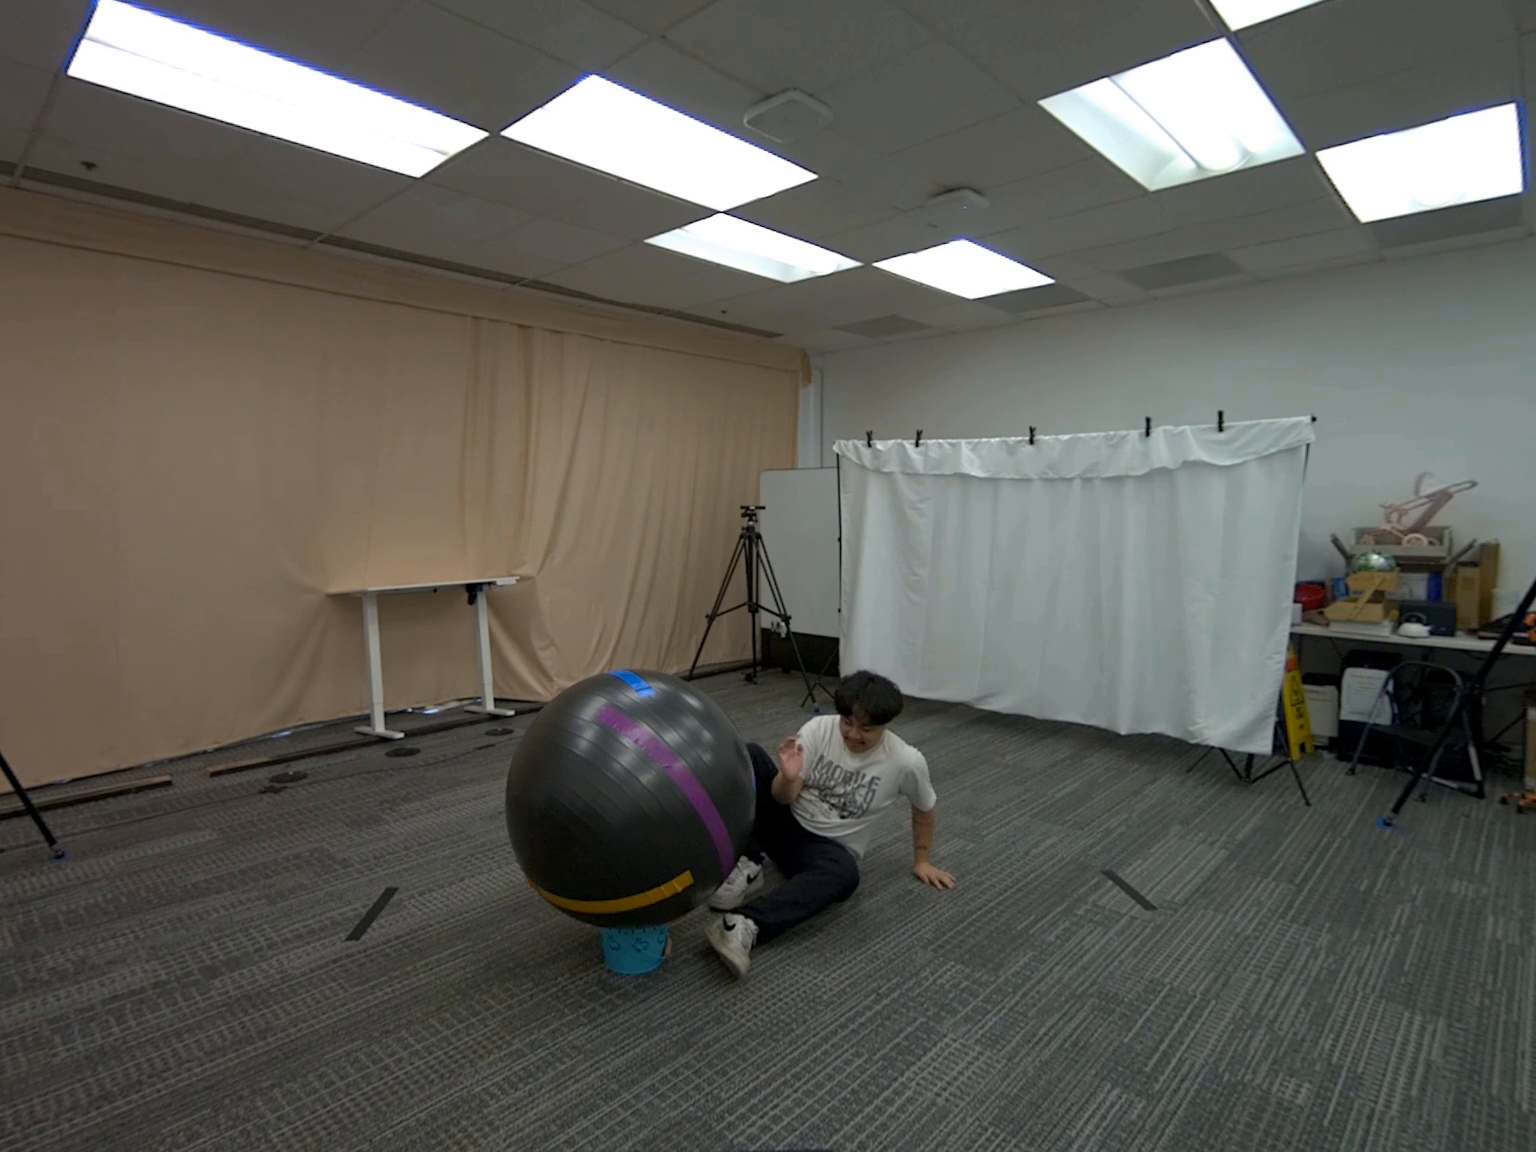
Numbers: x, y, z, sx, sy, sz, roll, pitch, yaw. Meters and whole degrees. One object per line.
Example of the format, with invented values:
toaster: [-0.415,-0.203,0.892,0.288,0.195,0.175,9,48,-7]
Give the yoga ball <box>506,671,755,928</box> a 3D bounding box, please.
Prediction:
yoga ball: [-0.418,0.669,2.582,0.757,0.756,0.760,0,4,-2]
